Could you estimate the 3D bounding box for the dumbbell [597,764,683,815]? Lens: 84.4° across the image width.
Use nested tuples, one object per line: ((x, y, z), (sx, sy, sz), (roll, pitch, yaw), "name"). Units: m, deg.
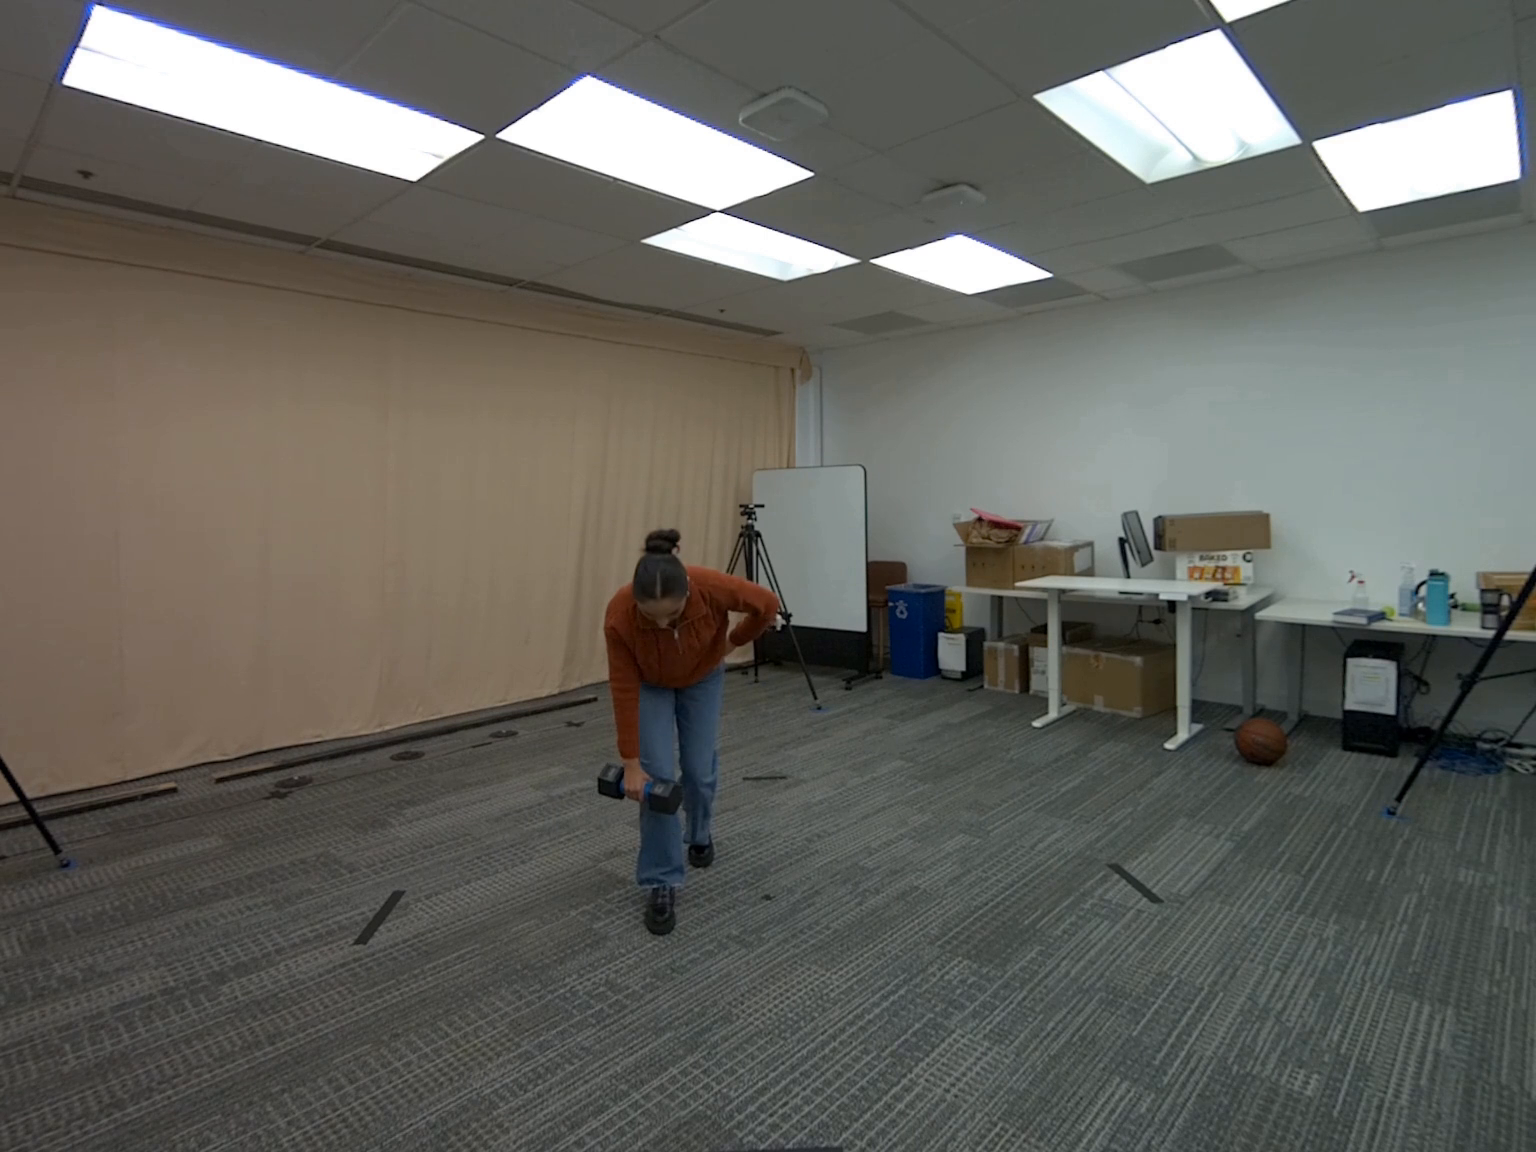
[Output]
((-0.433, 0.717, 2.830), (0.302, 0.122, 0.106), (7, 13, 31), "dumbbell")
